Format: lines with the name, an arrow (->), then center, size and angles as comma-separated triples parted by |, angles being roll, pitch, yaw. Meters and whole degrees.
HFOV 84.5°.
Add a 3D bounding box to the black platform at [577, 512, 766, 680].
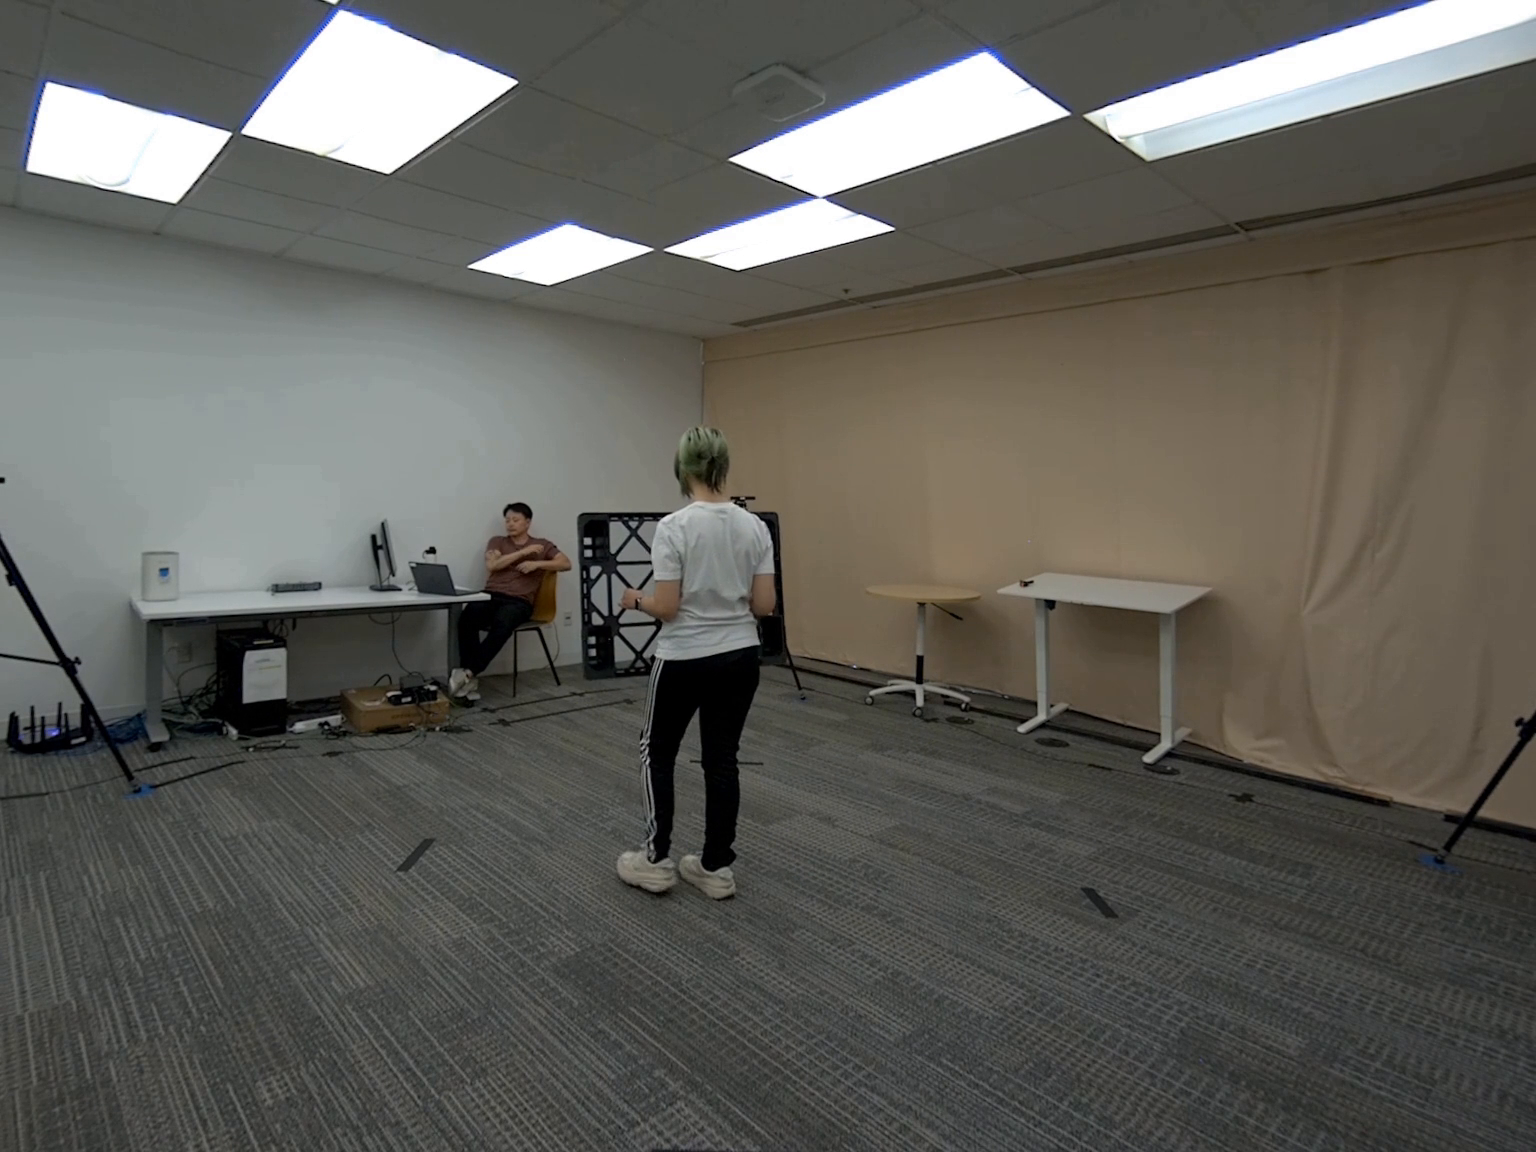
black platform -> -0.328, 0.068, 3.207 | 0.792, 0.607, 0.145 | -2, -4, -22
